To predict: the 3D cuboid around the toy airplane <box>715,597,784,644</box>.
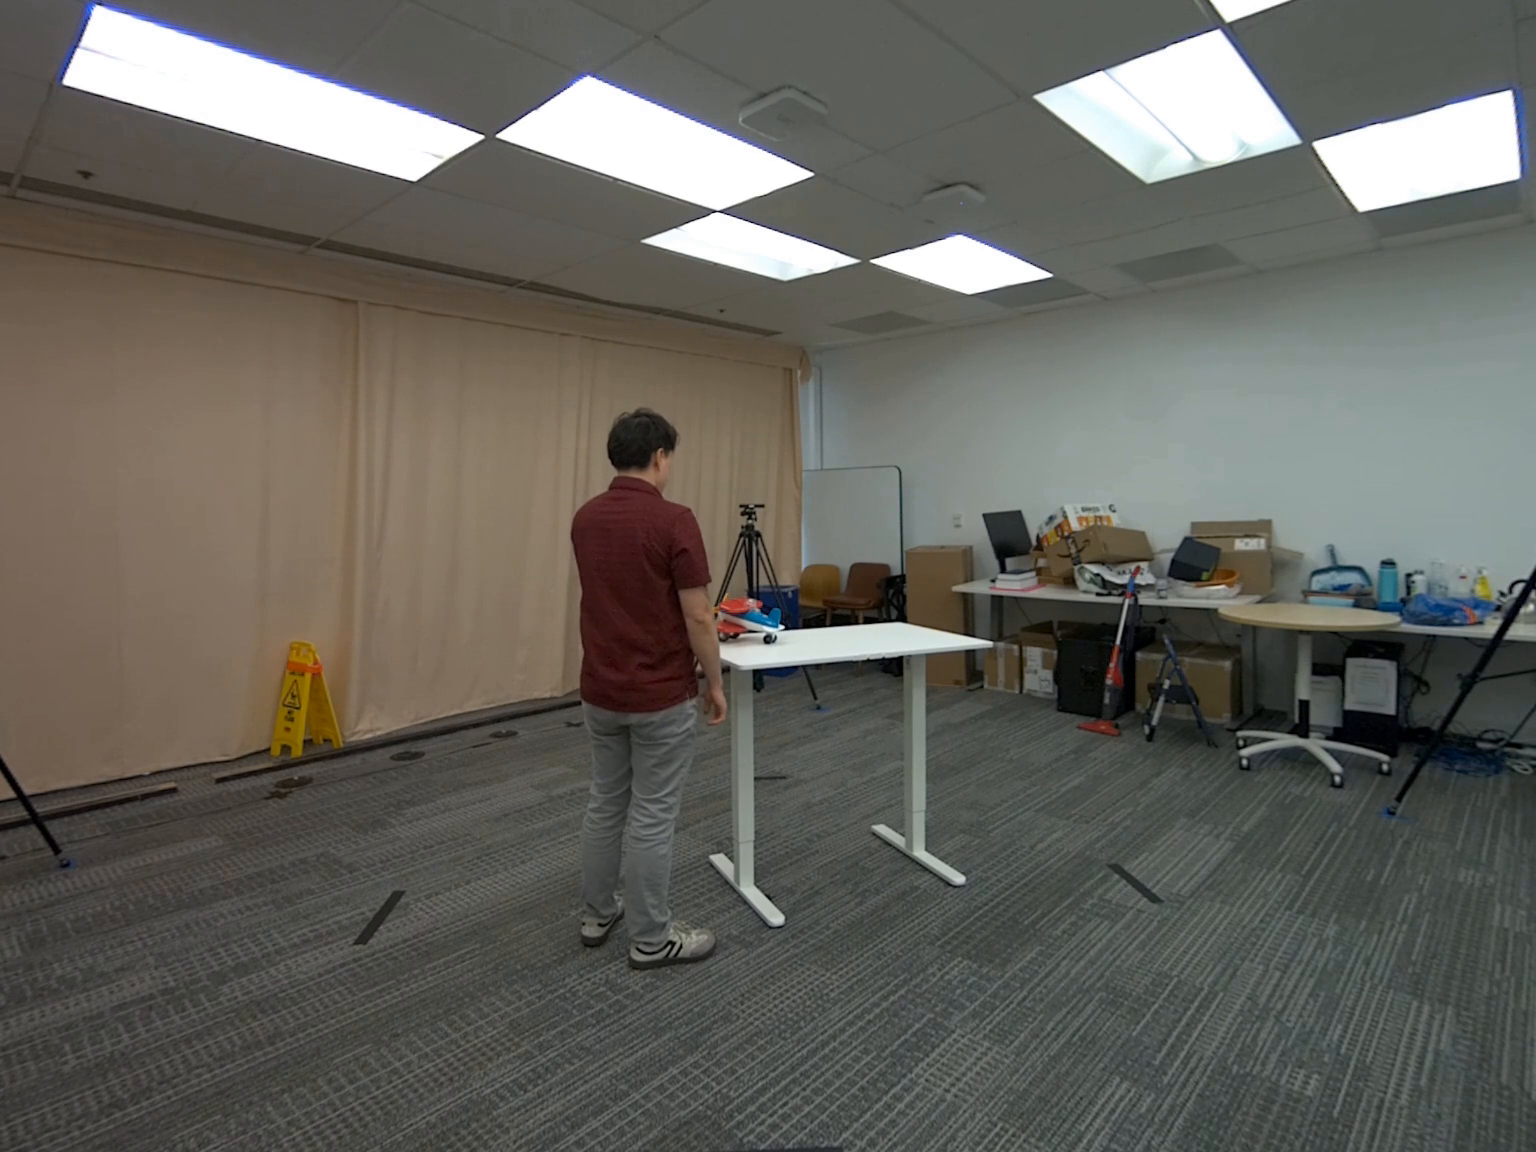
[{"bbox_3d":[-0.068,0.167,3.149,0.259,0.156,0.251,-1,5,0],"label":"toy airplane"}]
